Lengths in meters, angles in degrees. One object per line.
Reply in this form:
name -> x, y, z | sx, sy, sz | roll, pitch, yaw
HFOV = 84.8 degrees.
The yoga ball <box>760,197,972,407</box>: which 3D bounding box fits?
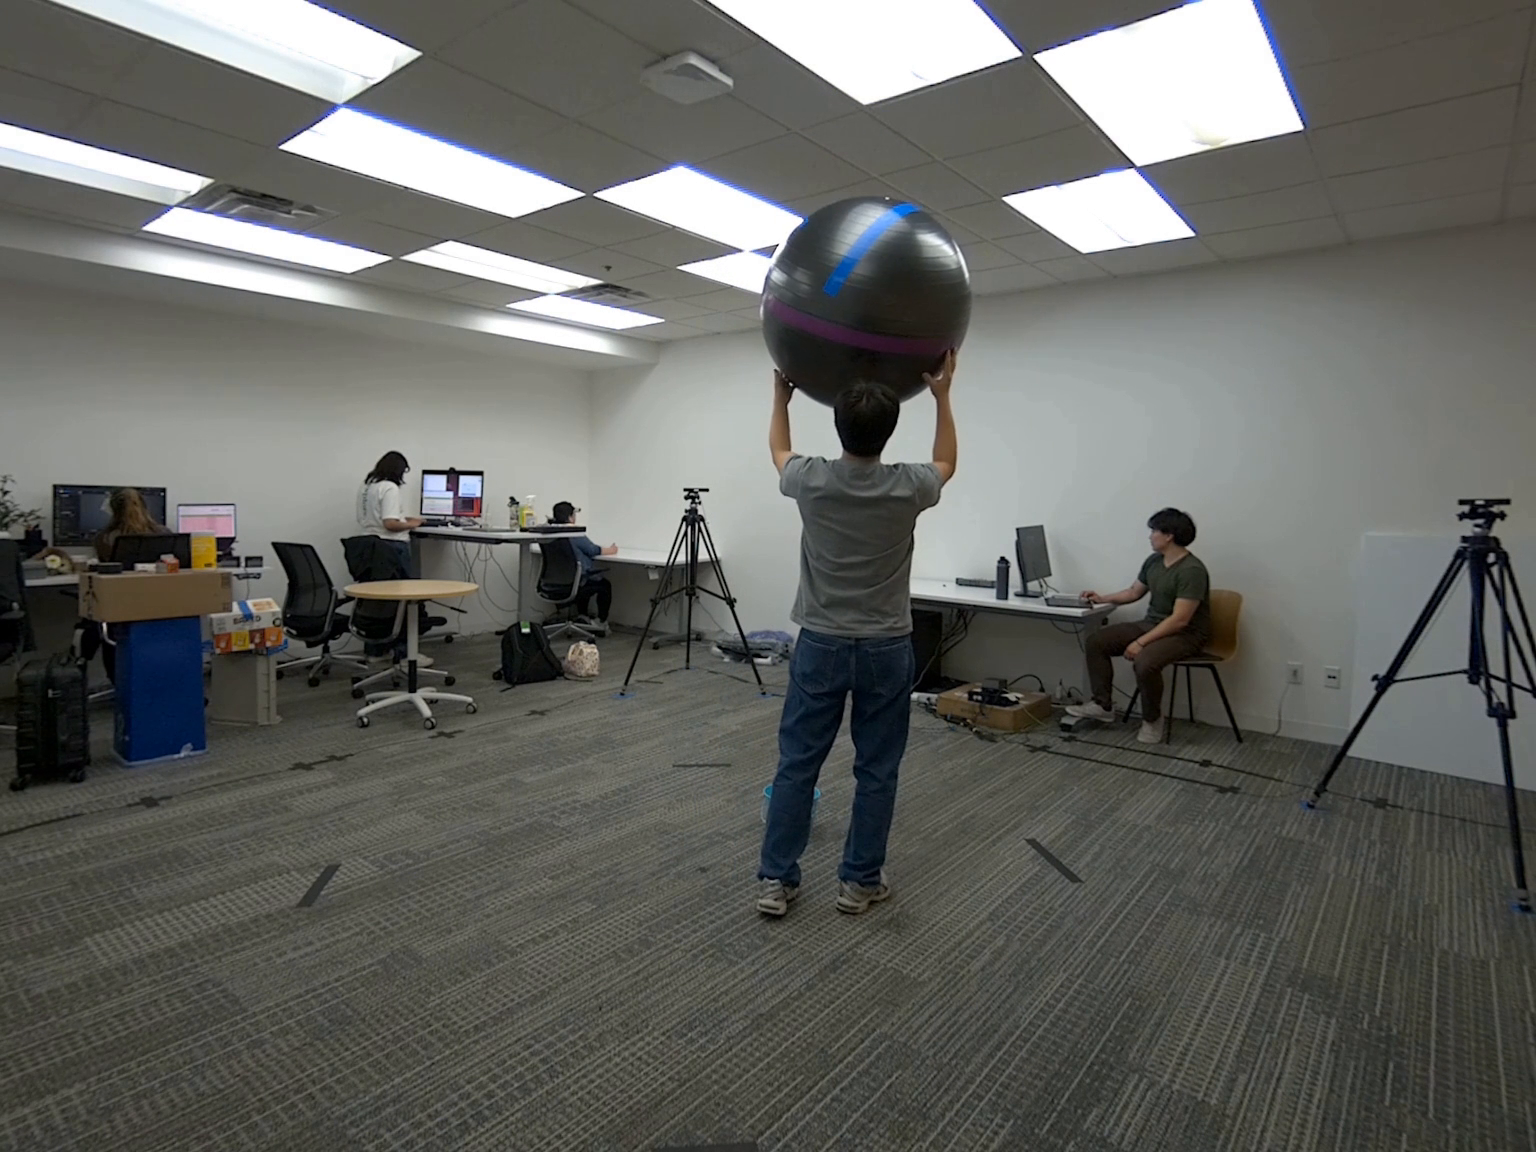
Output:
yoga ball -> 0.345, -0.994, 3.122 | 0.757, 0.756, 0.761 | 1, 4, -2
